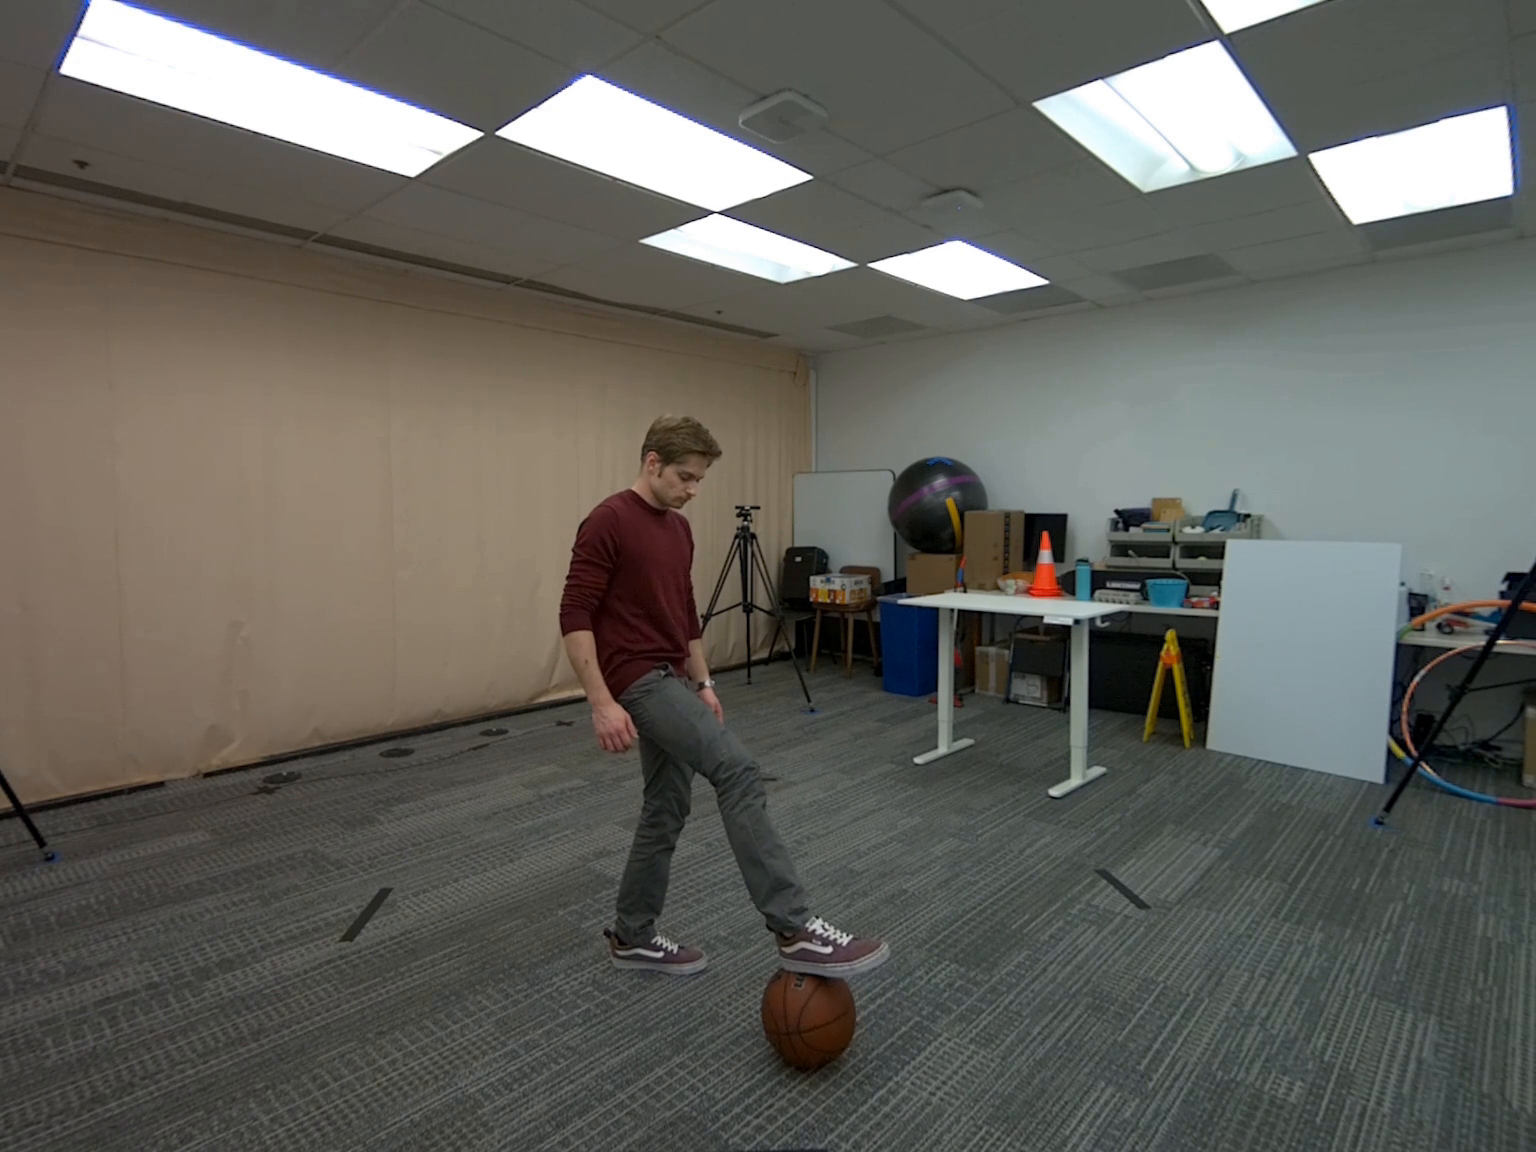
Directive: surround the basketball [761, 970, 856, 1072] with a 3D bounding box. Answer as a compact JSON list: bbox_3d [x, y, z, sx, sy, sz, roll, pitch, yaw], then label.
[{"bbox_3d":[0.104,1.103,2.114,0.236,0.235,0.237,0,4,-2],"label":"basketball"}]
